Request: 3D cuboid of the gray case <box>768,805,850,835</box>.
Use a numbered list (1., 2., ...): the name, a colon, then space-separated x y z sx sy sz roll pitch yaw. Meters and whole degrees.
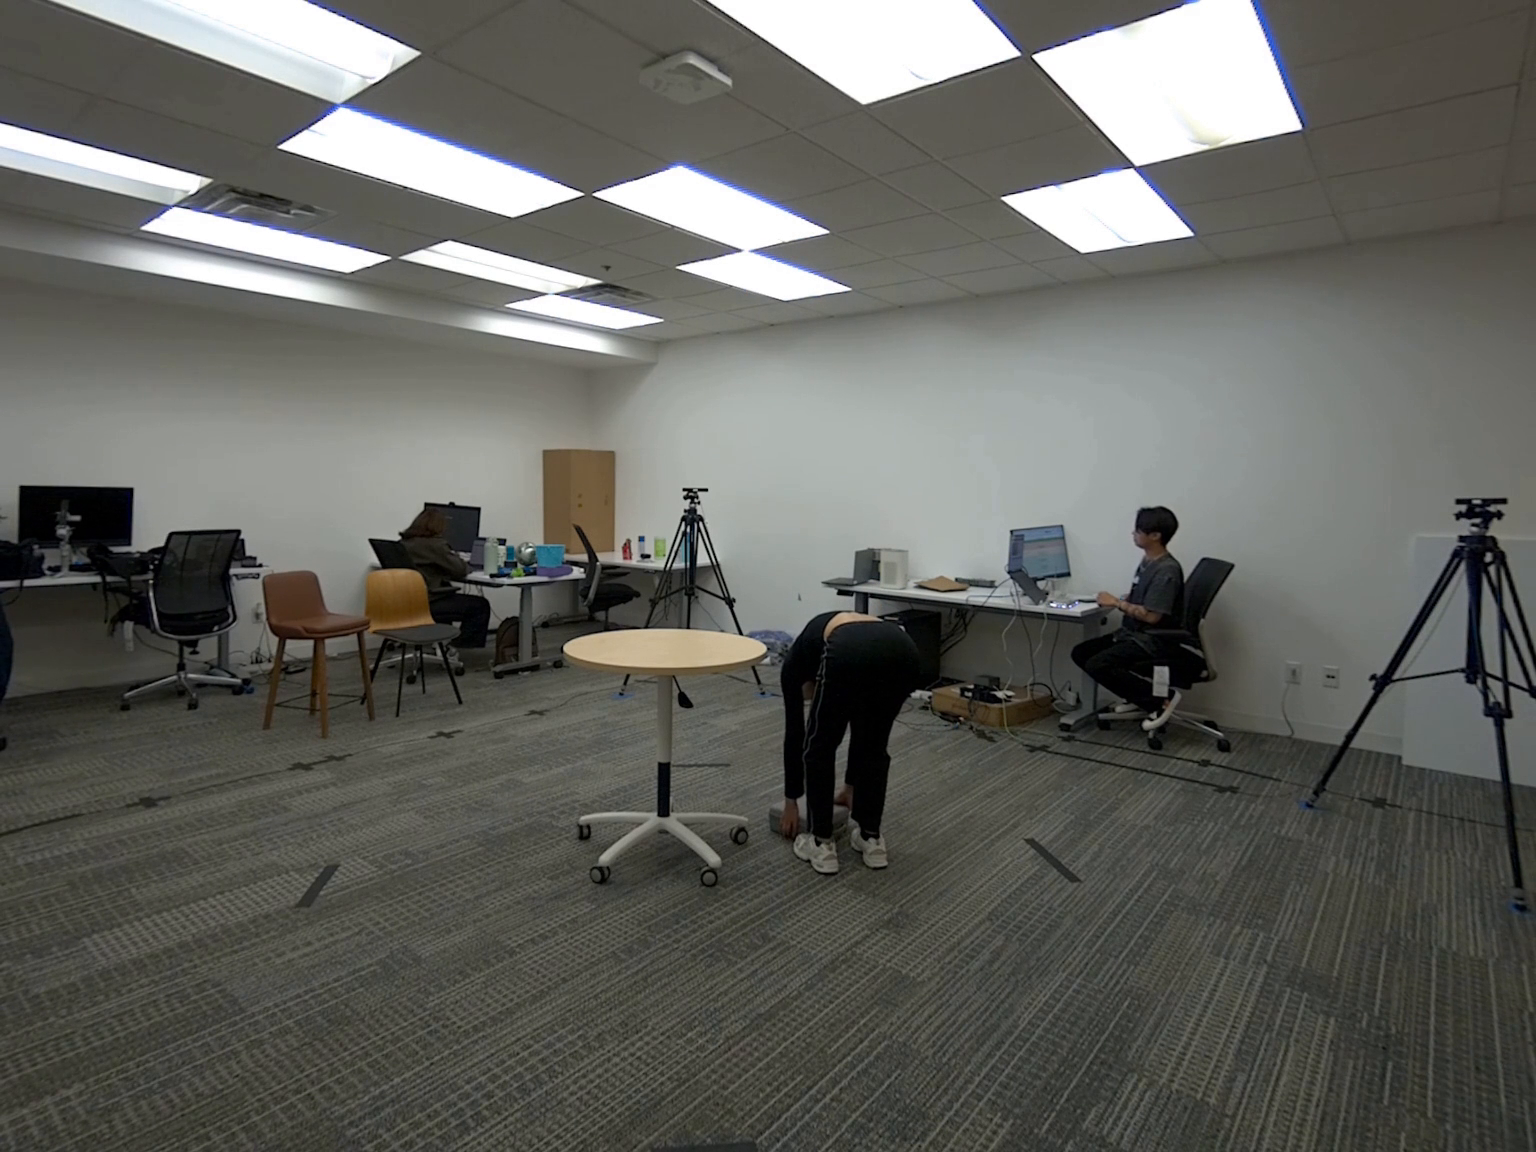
1. gray case: 0.160 0.979 3.489 0.269 0.104 0.249 6 6 40
